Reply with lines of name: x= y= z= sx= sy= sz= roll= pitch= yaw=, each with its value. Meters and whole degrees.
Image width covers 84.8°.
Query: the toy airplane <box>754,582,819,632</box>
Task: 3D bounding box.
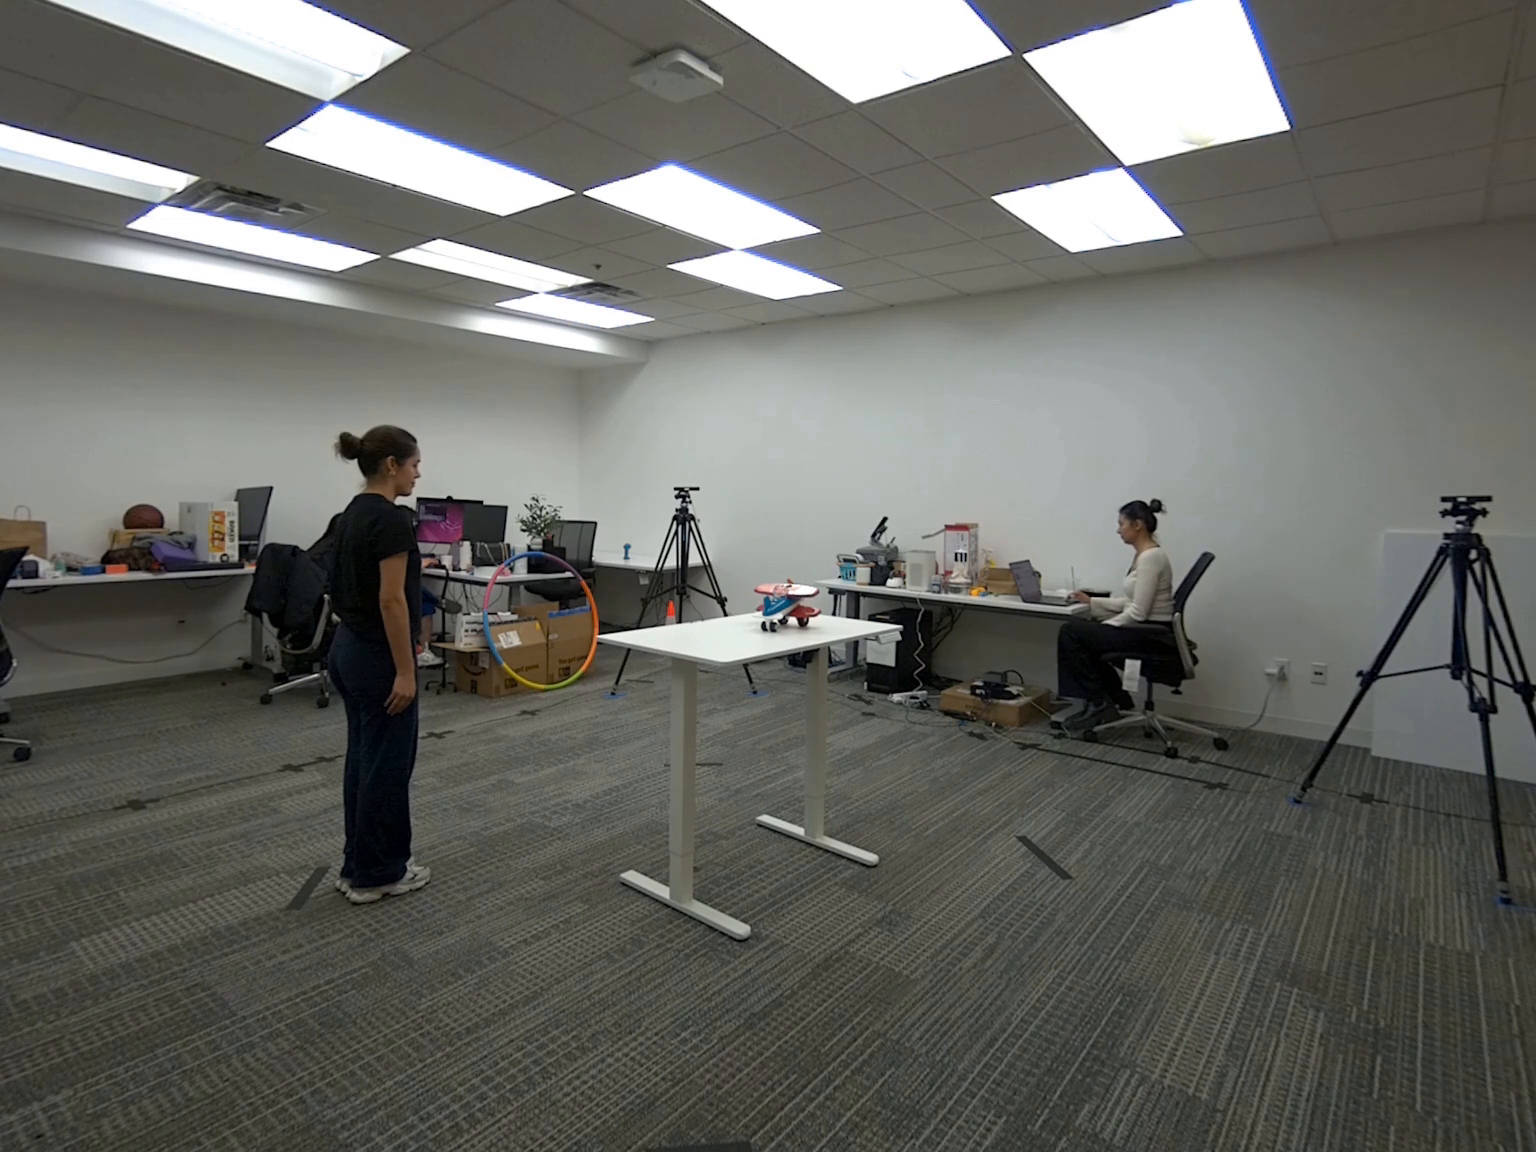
toy airplane: x=0.082 y=0.114 z=3.116 sx=0.252 sy=0.156 sz=0.259 roll=2 pitch=5 yaw=4
